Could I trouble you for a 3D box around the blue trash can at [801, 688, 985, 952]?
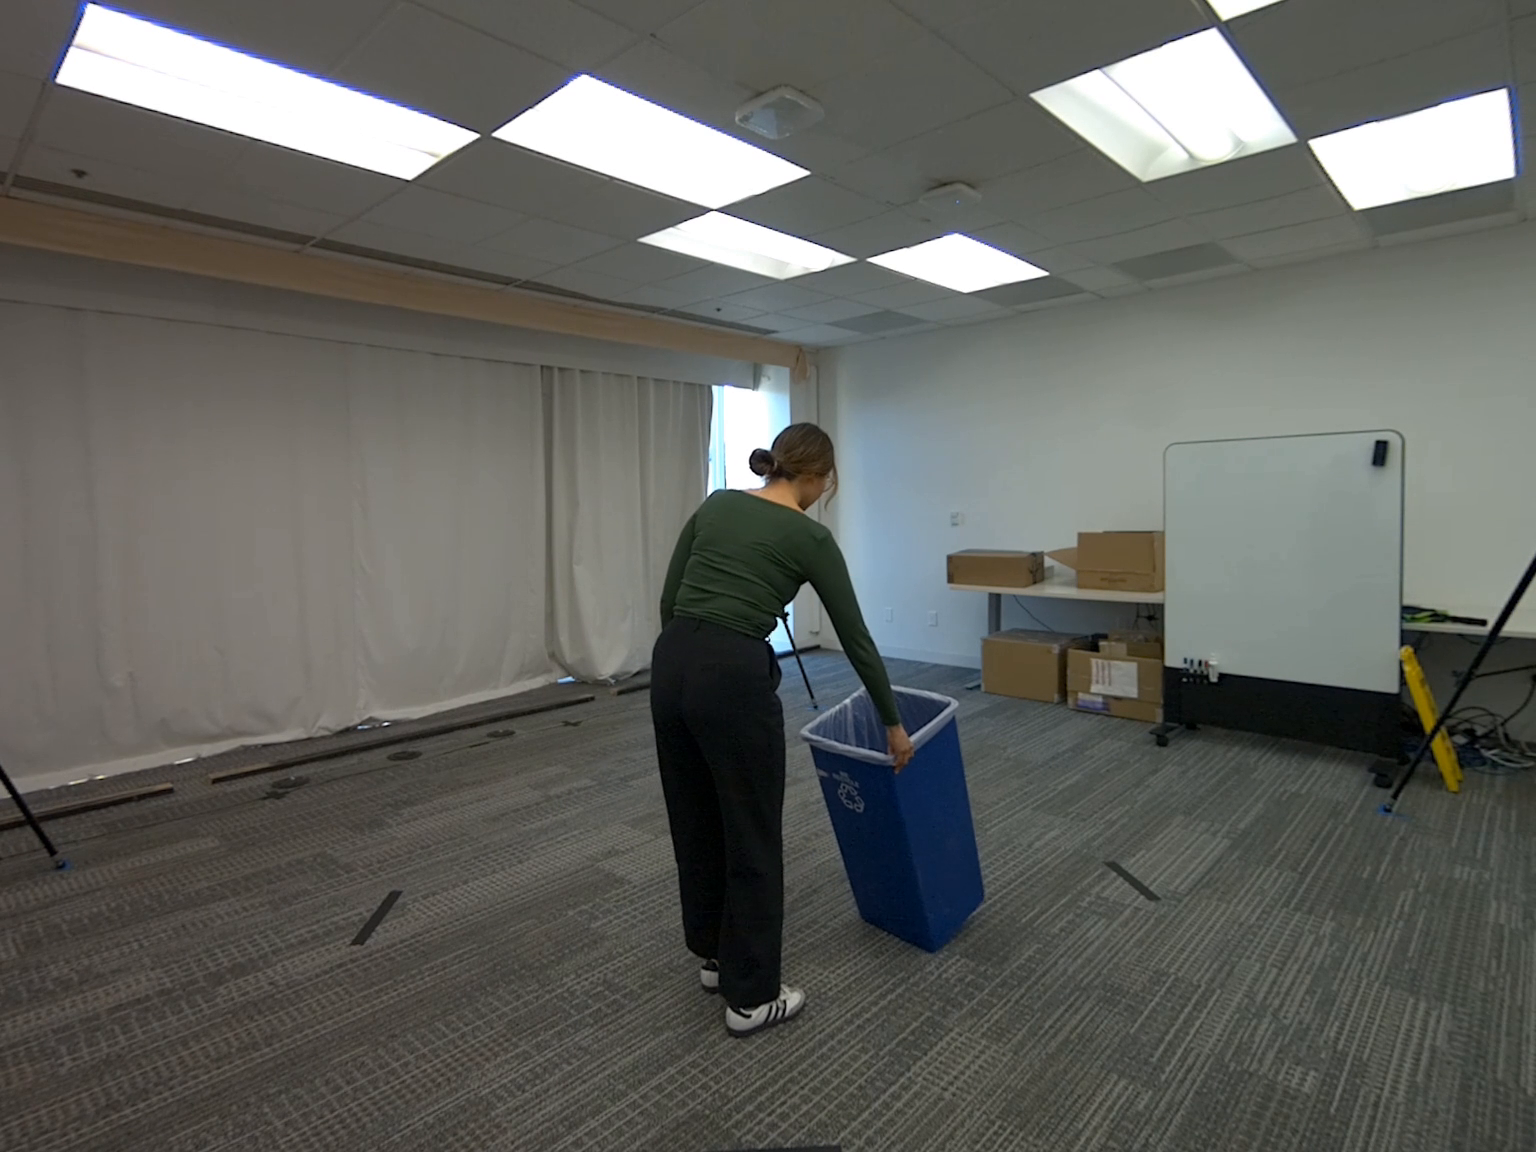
[{"bbox_3d":[0.430,0.764,2.704,0.367,0.704,0.390,-27,20,-37],"label":"blue trash can"}]
